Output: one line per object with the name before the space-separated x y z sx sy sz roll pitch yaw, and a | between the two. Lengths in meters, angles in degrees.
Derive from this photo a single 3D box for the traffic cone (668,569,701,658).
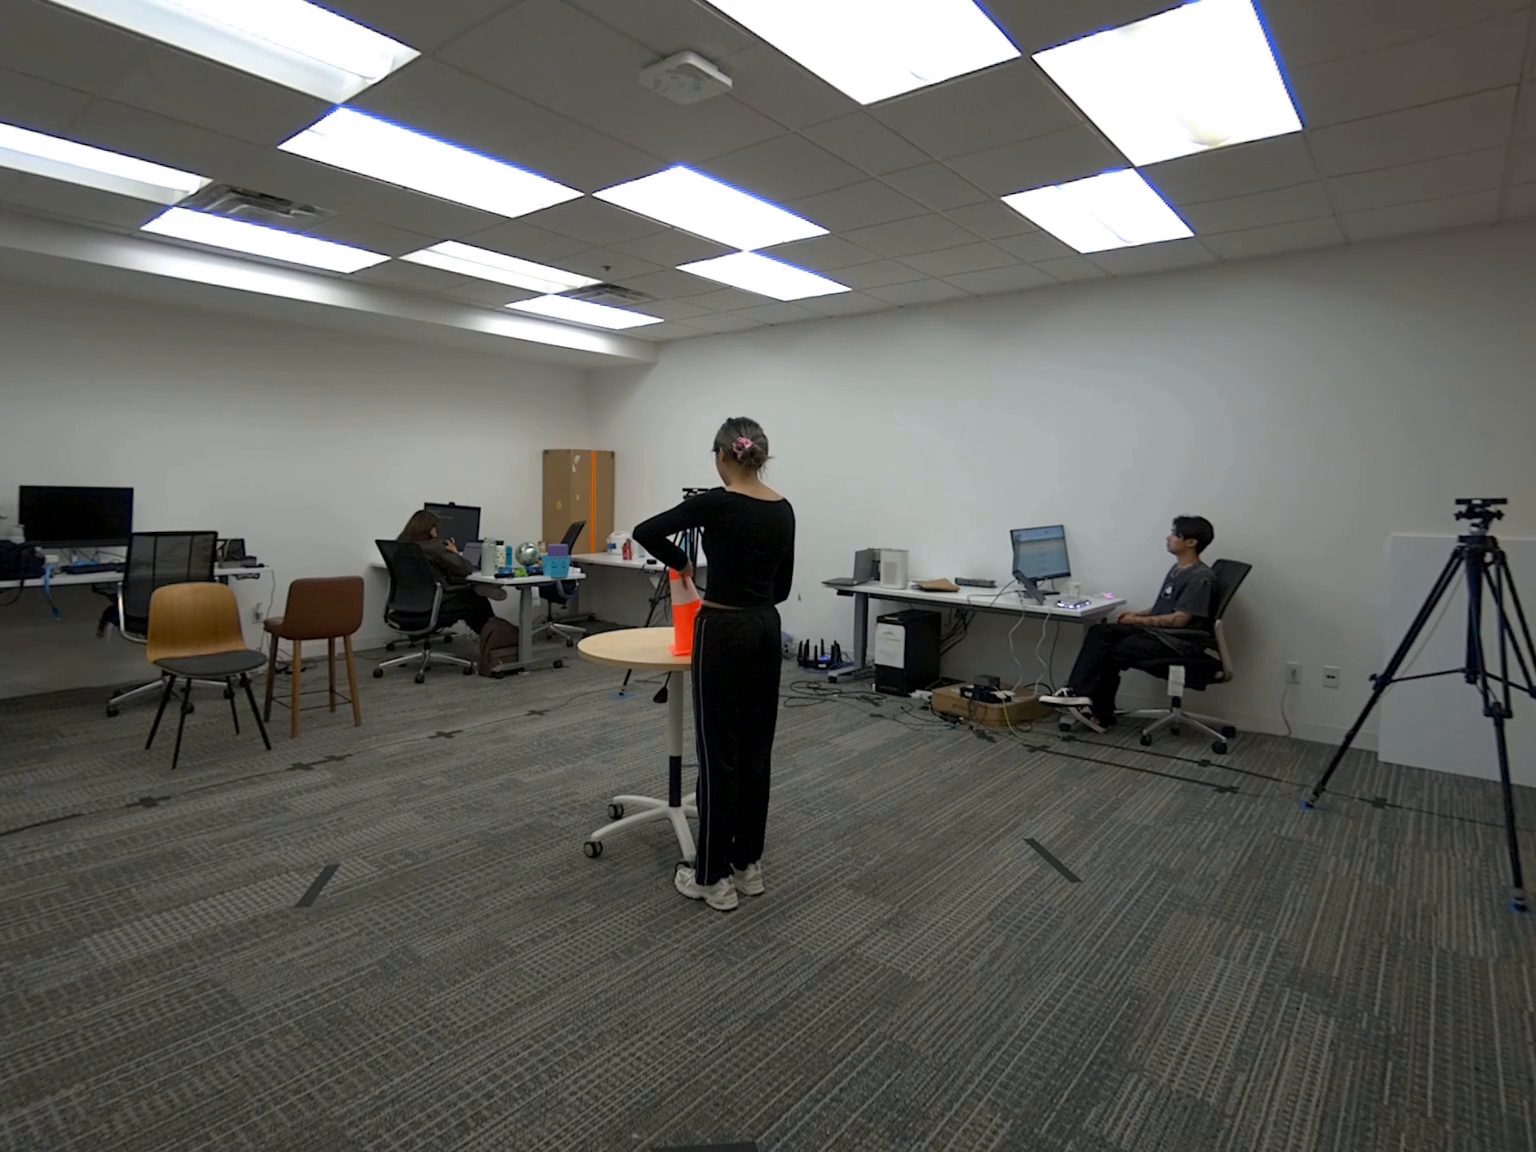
traffic cone | -0.327 0.074 3.166 0.204 0.382 0.205 -12 3 -6
